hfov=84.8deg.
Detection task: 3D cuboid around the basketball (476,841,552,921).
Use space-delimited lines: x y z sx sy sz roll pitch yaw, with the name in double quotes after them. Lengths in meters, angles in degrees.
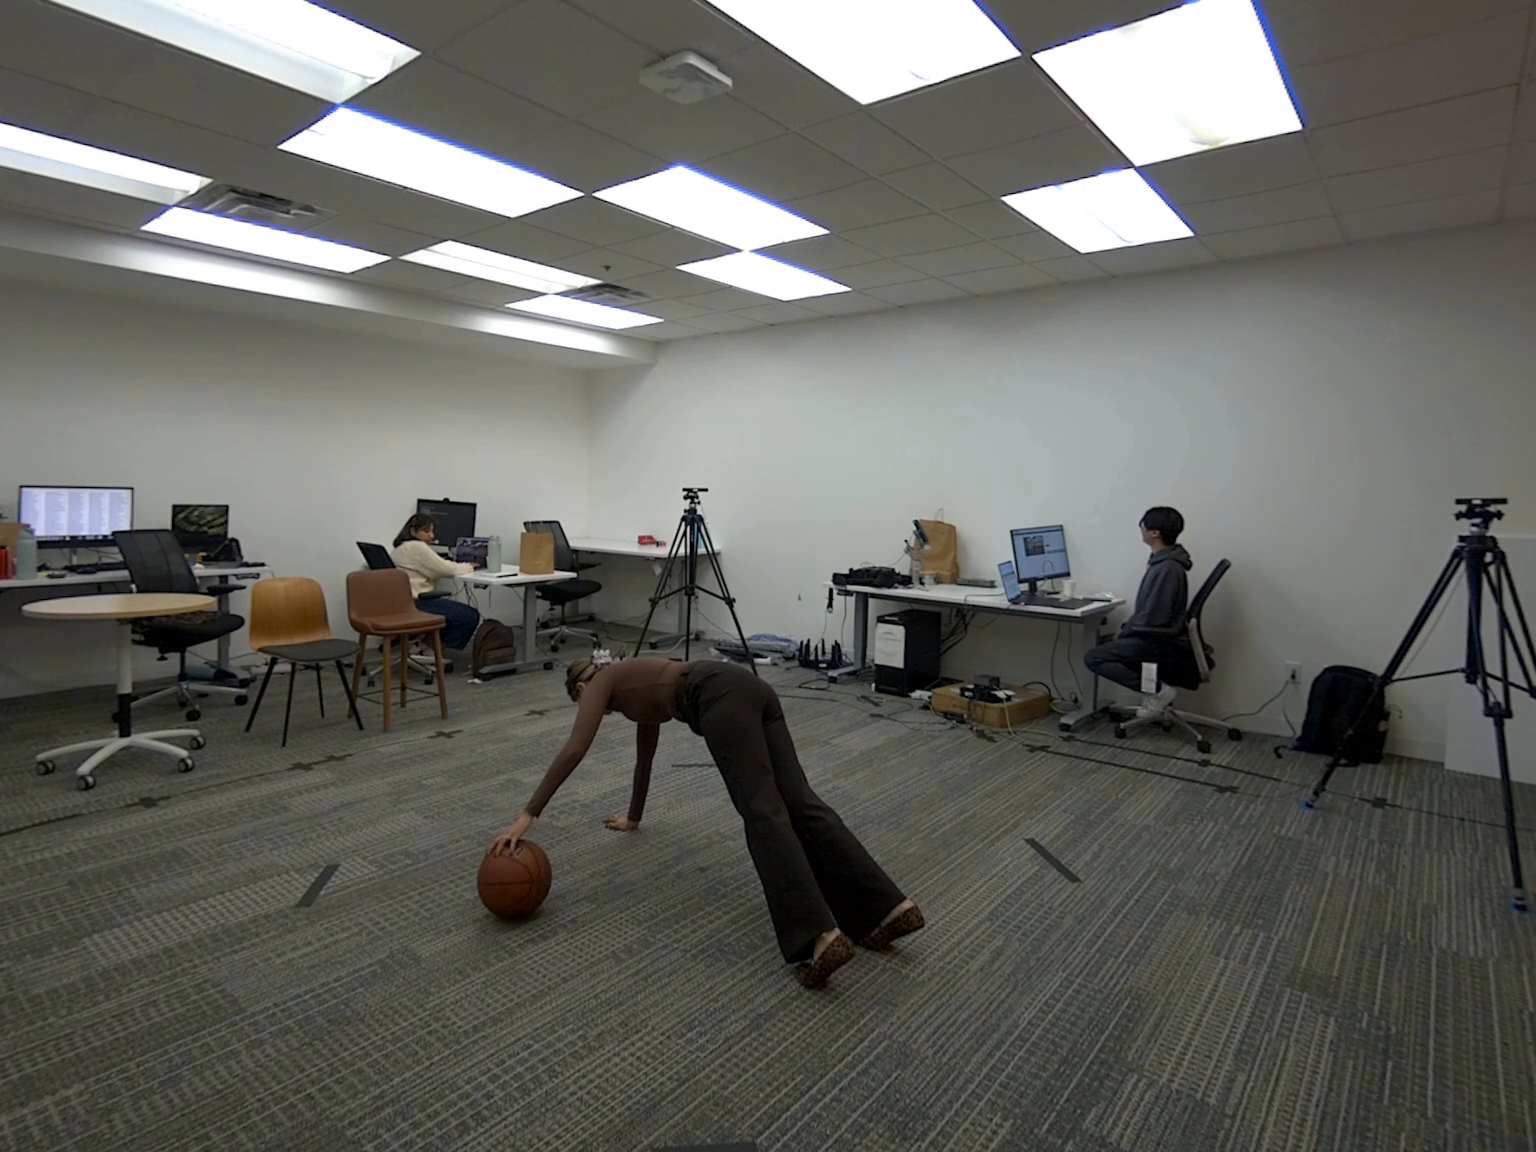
-0.829 0.975 2.764 0.236 0.235 0.237 1 4 -2 "basketball"
